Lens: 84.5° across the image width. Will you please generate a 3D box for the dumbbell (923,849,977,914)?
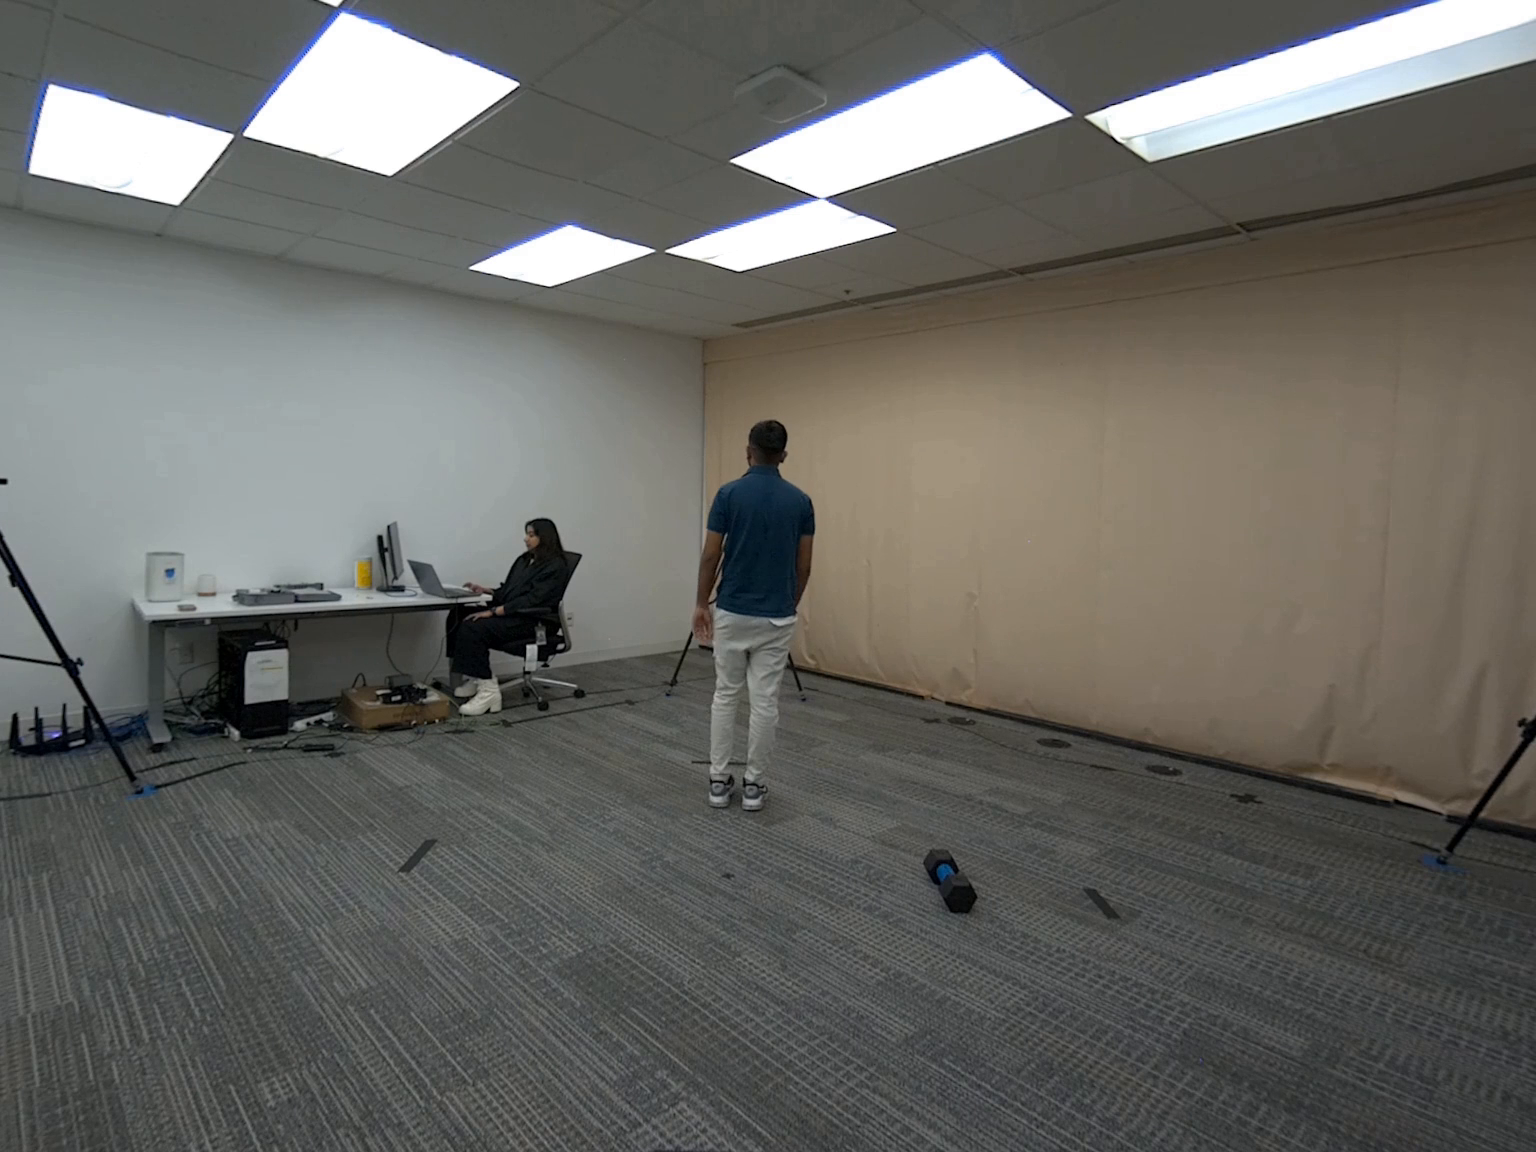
[{"bbox_3d":[0.637,1.083,3.003,0.109,0.122,0.295,-29,6,-1],"label":"dumbbell"}]
